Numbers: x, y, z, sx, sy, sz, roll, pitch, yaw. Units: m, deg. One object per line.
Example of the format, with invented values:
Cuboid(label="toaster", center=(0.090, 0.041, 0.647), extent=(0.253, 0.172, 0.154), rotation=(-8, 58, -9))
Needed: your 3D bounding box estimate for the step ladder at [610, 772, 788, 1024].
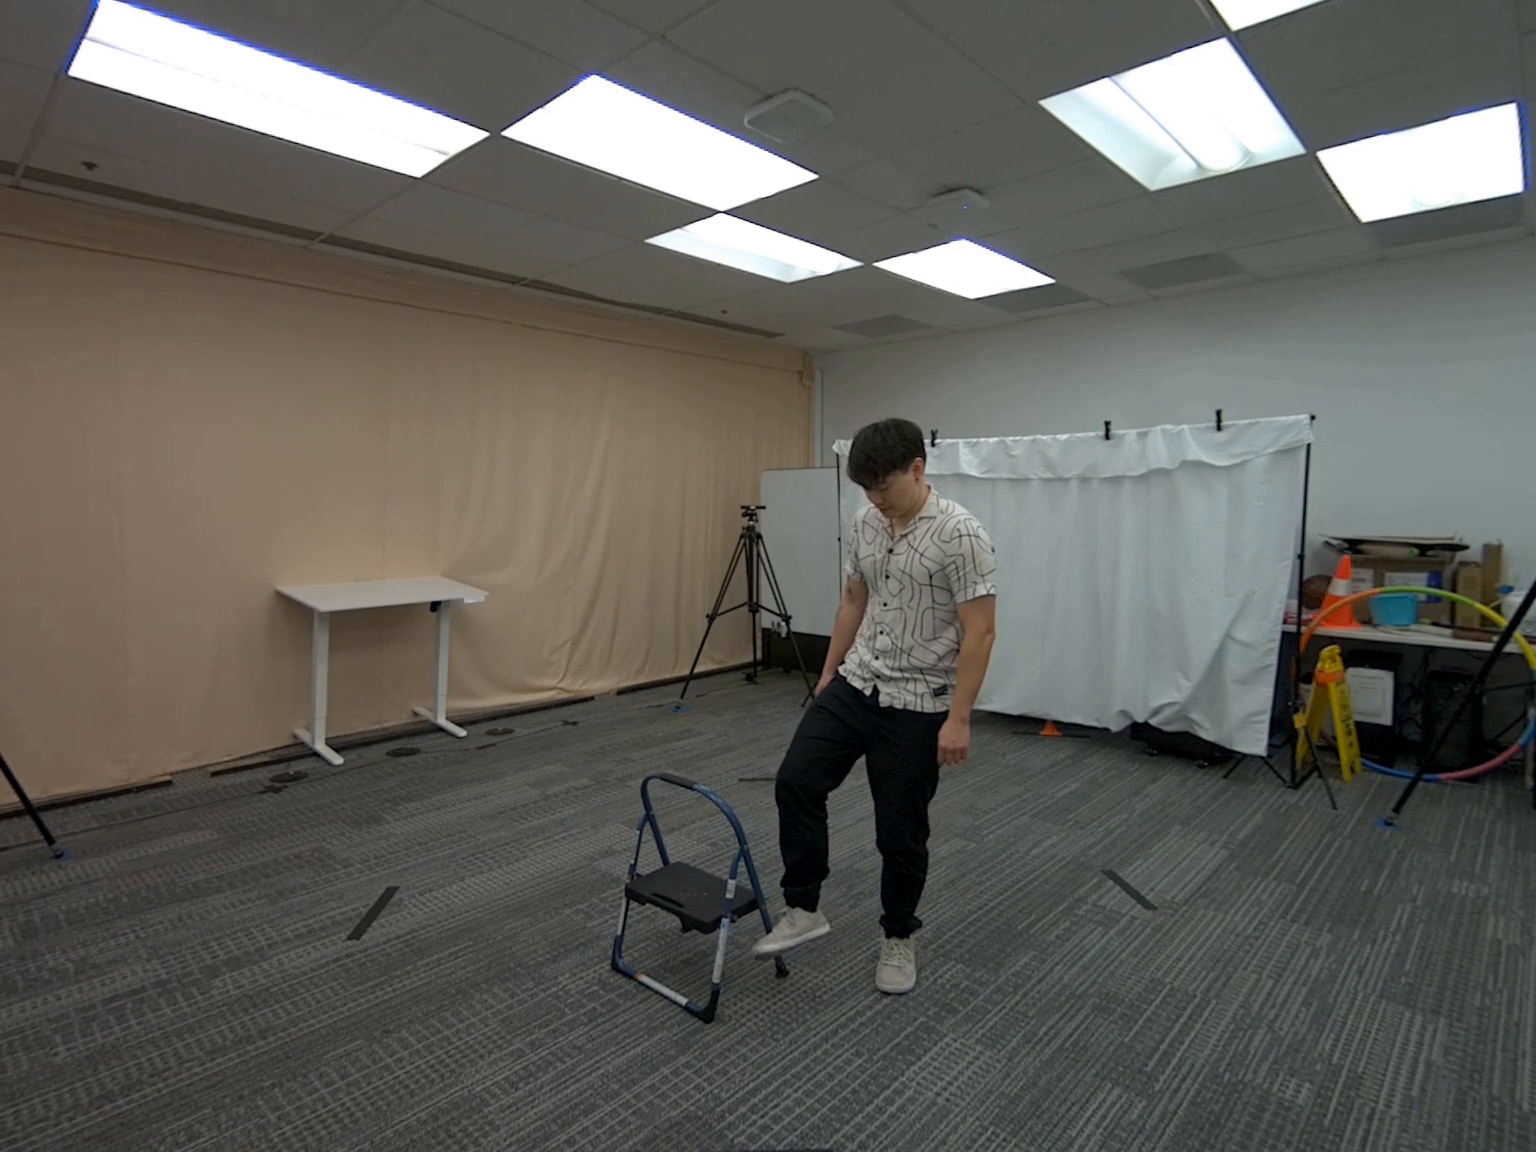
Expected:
Cuboid(label="step ladder", center=(-0.210, 0.882, 2.510), extent=(0.445, 0.605, 0.339), rotation=(2, 4, 40))
